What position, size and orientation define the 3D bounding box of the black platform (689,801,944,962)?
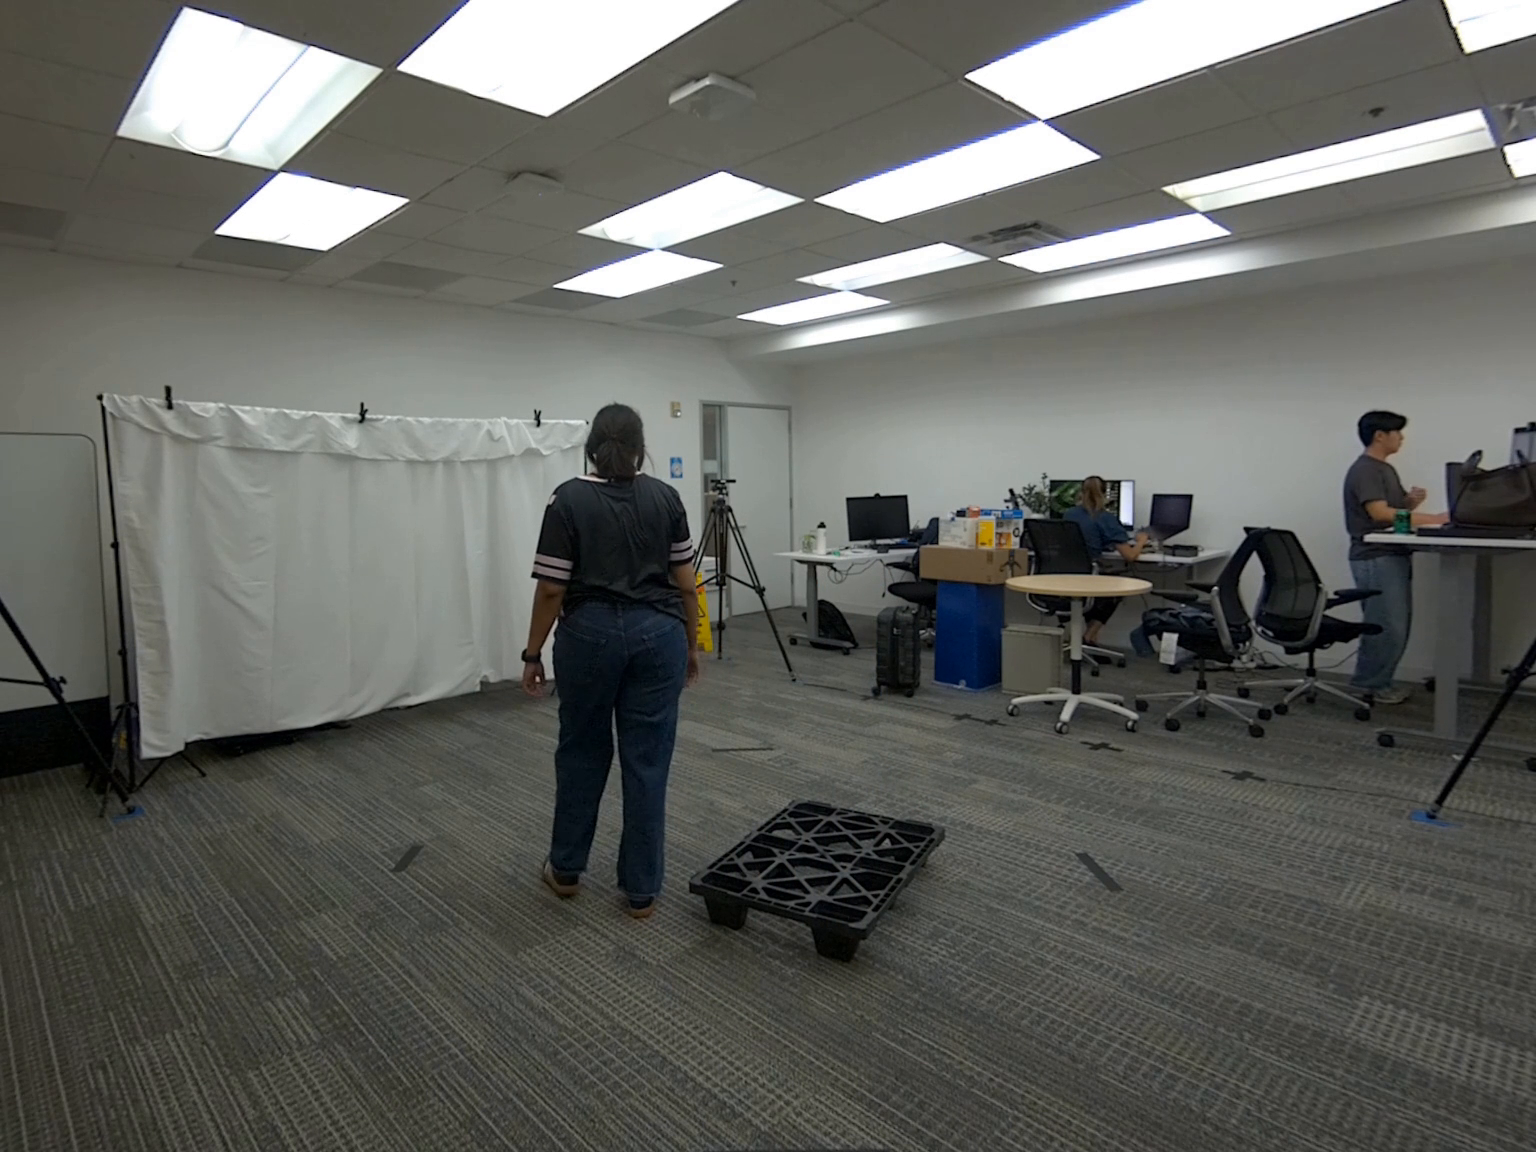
[{"bbox_3d":[0.200,0.998,2.893,0.621,0.142,0.789,3,8,29],"label":"black platform"}]
